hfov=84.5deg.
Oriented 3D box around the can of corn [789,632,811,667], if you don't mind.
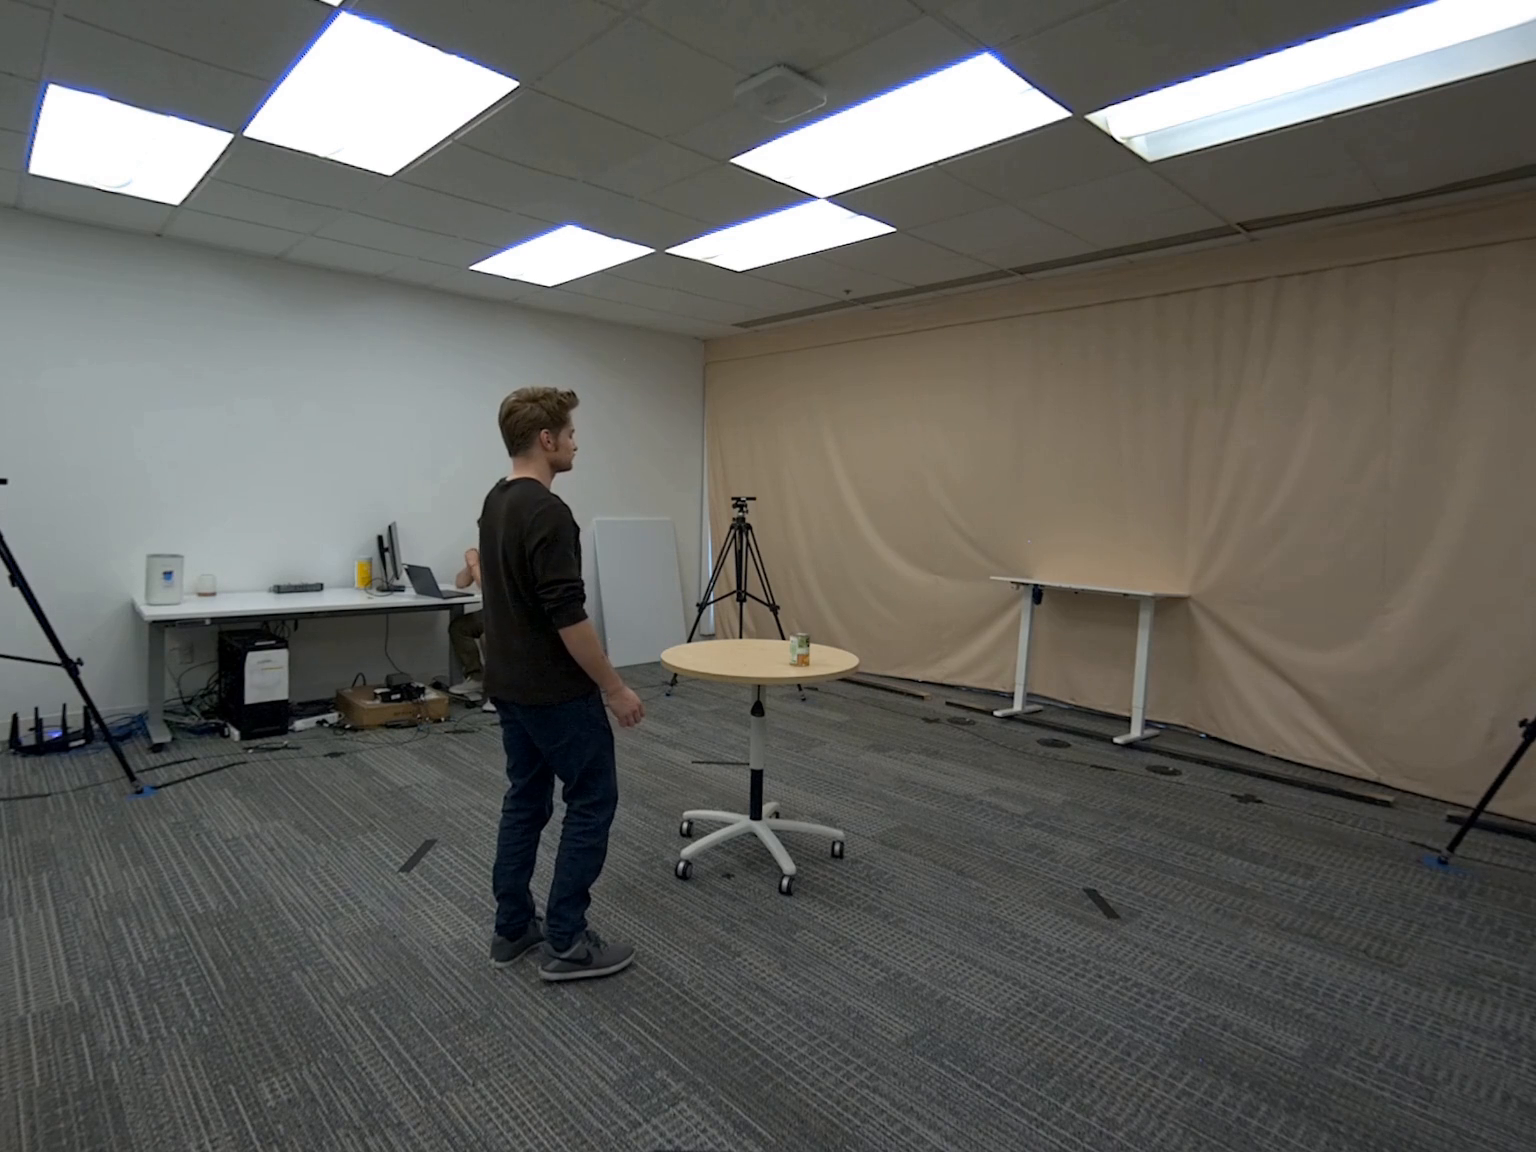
[{"bbox_3d":[0.111,0.272,3.106,0.074,0.111,0.074,0,3,-1],"label":"can of corn"}]
